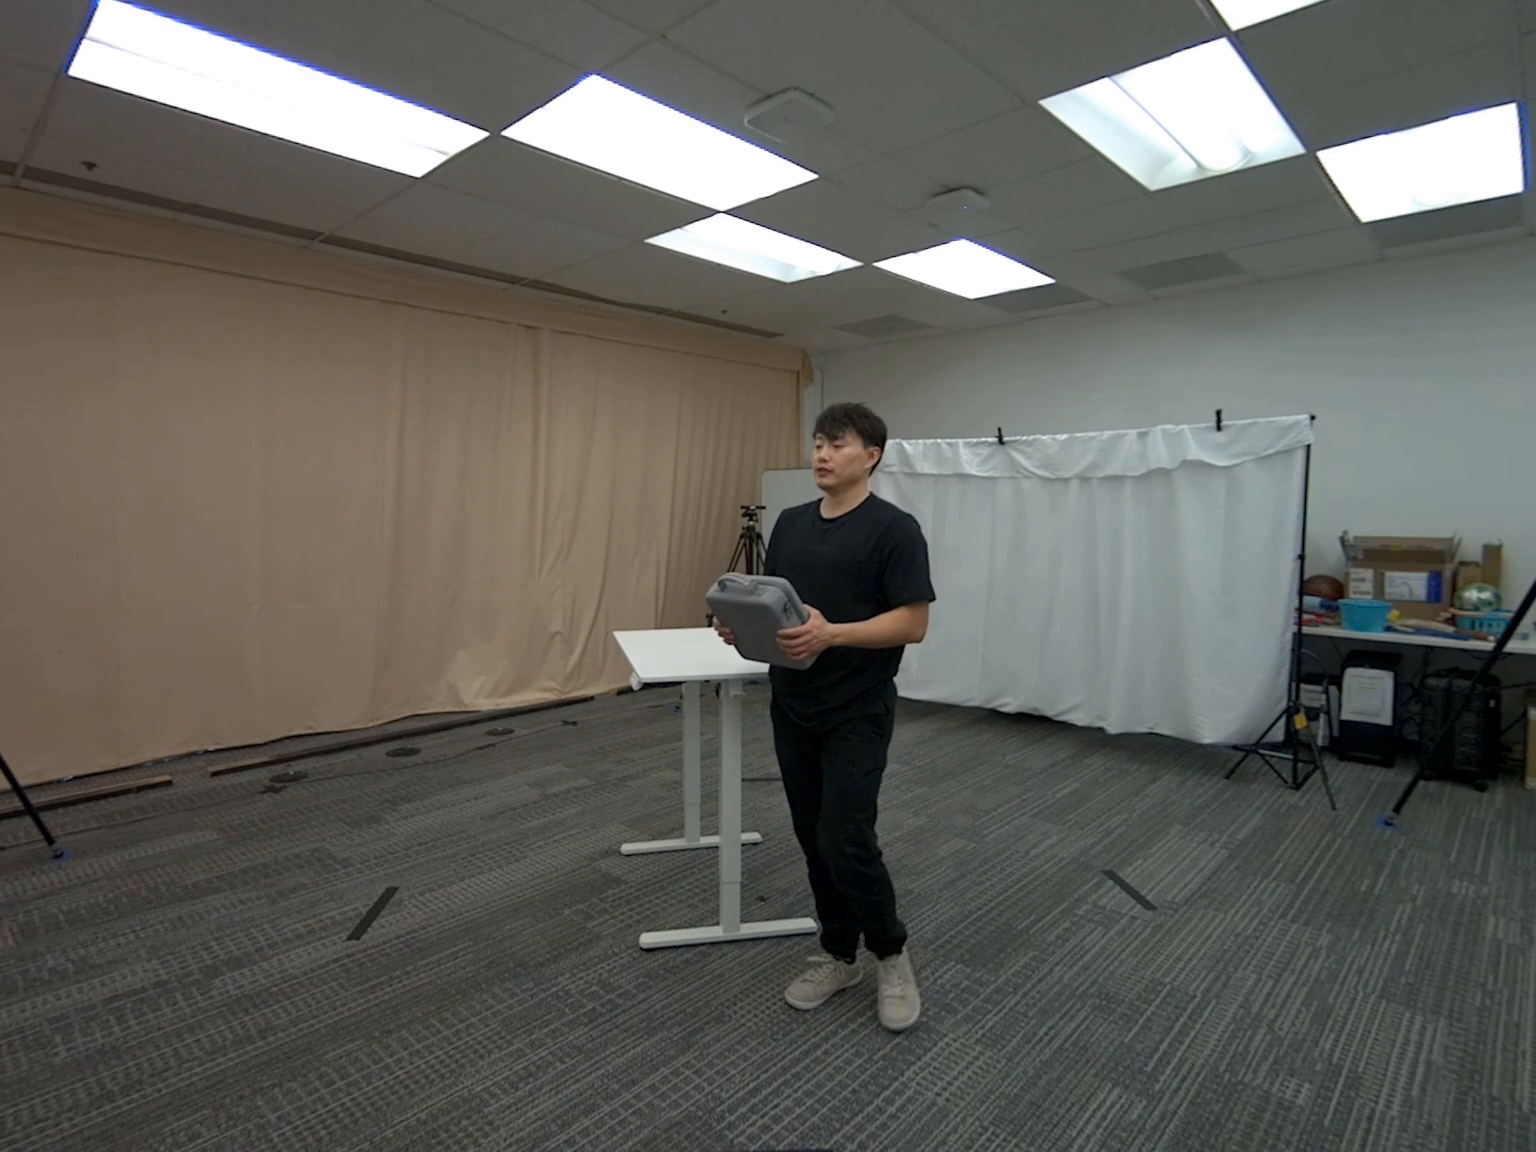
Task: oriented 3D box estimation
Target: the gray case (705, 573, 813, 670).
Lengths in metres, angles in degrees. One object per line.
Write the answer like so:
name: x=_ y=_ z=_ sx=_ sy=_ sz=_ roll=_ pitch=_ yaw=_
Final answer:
gray case: x=-0.005 y=0.114 z=2.206 sx=0.265 sy=0.253 sz=0.104 roll=3 pitch=43 yaw=46
